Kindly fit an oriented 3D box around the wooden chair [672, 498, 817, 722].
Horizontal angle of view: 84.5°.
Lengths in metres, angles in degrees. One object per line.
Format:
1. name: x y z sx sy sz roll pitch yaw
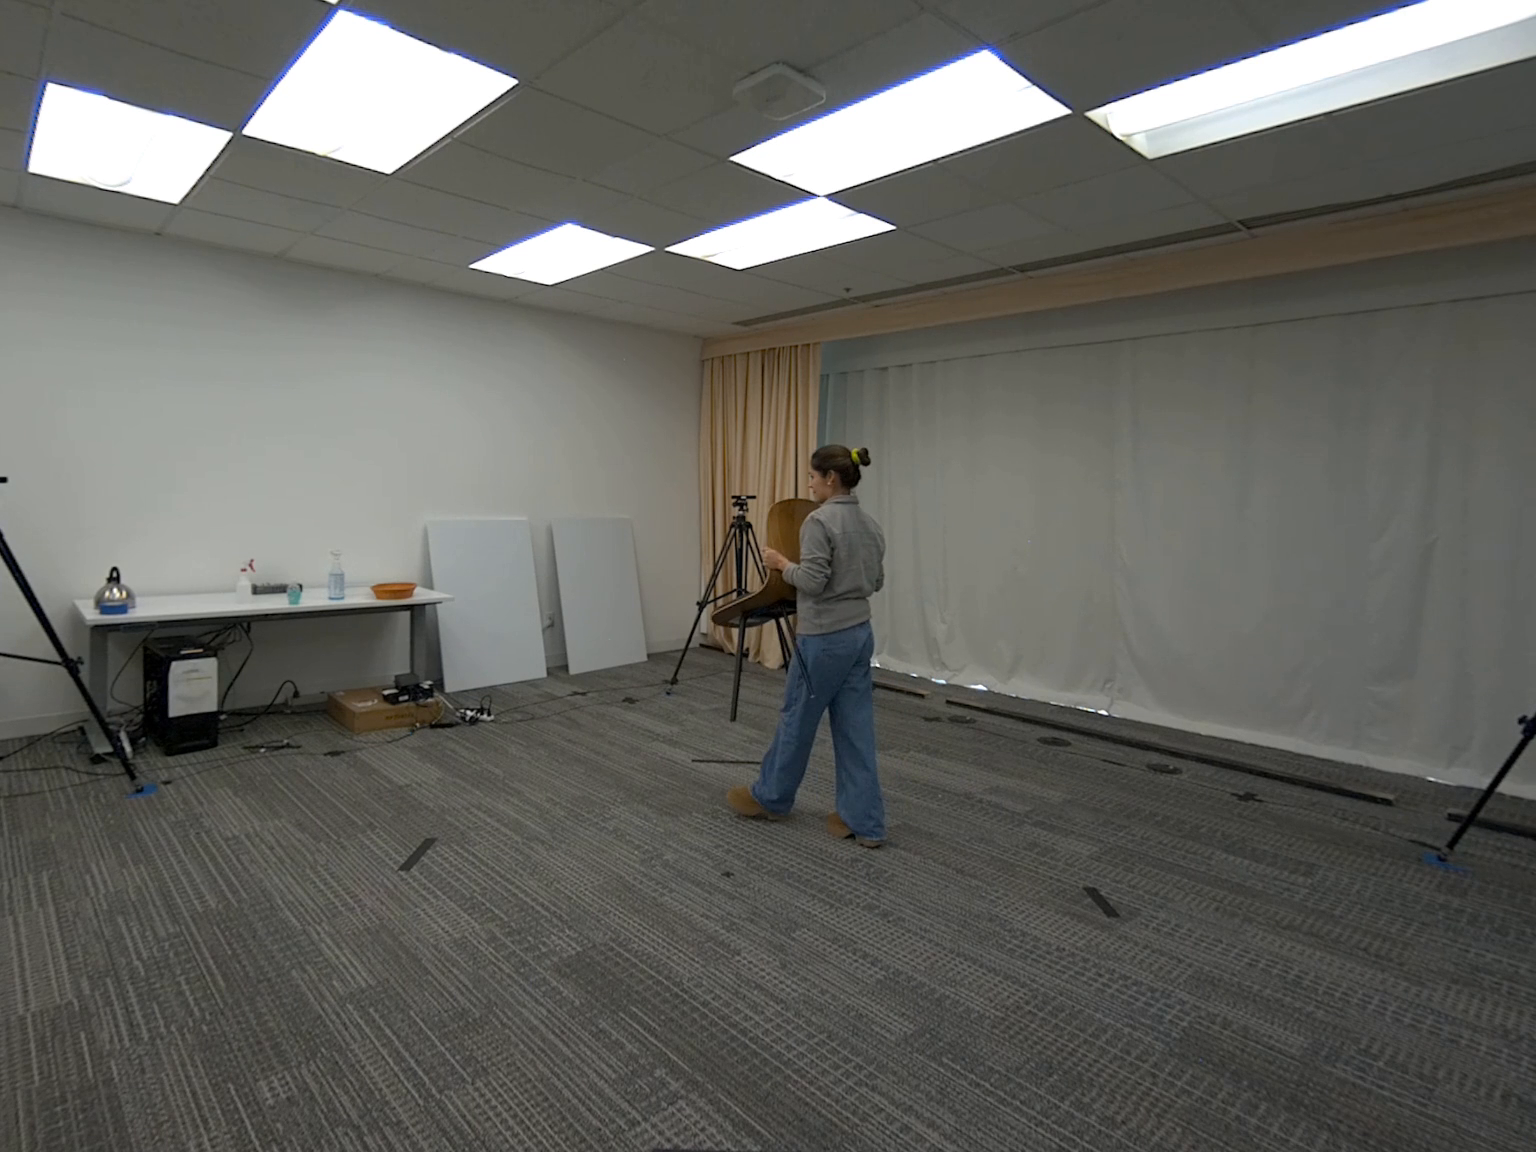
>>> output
1. wooden chair: 0.032 0.159 3.696 0.530 0.888 0.466 -22 -18 39
